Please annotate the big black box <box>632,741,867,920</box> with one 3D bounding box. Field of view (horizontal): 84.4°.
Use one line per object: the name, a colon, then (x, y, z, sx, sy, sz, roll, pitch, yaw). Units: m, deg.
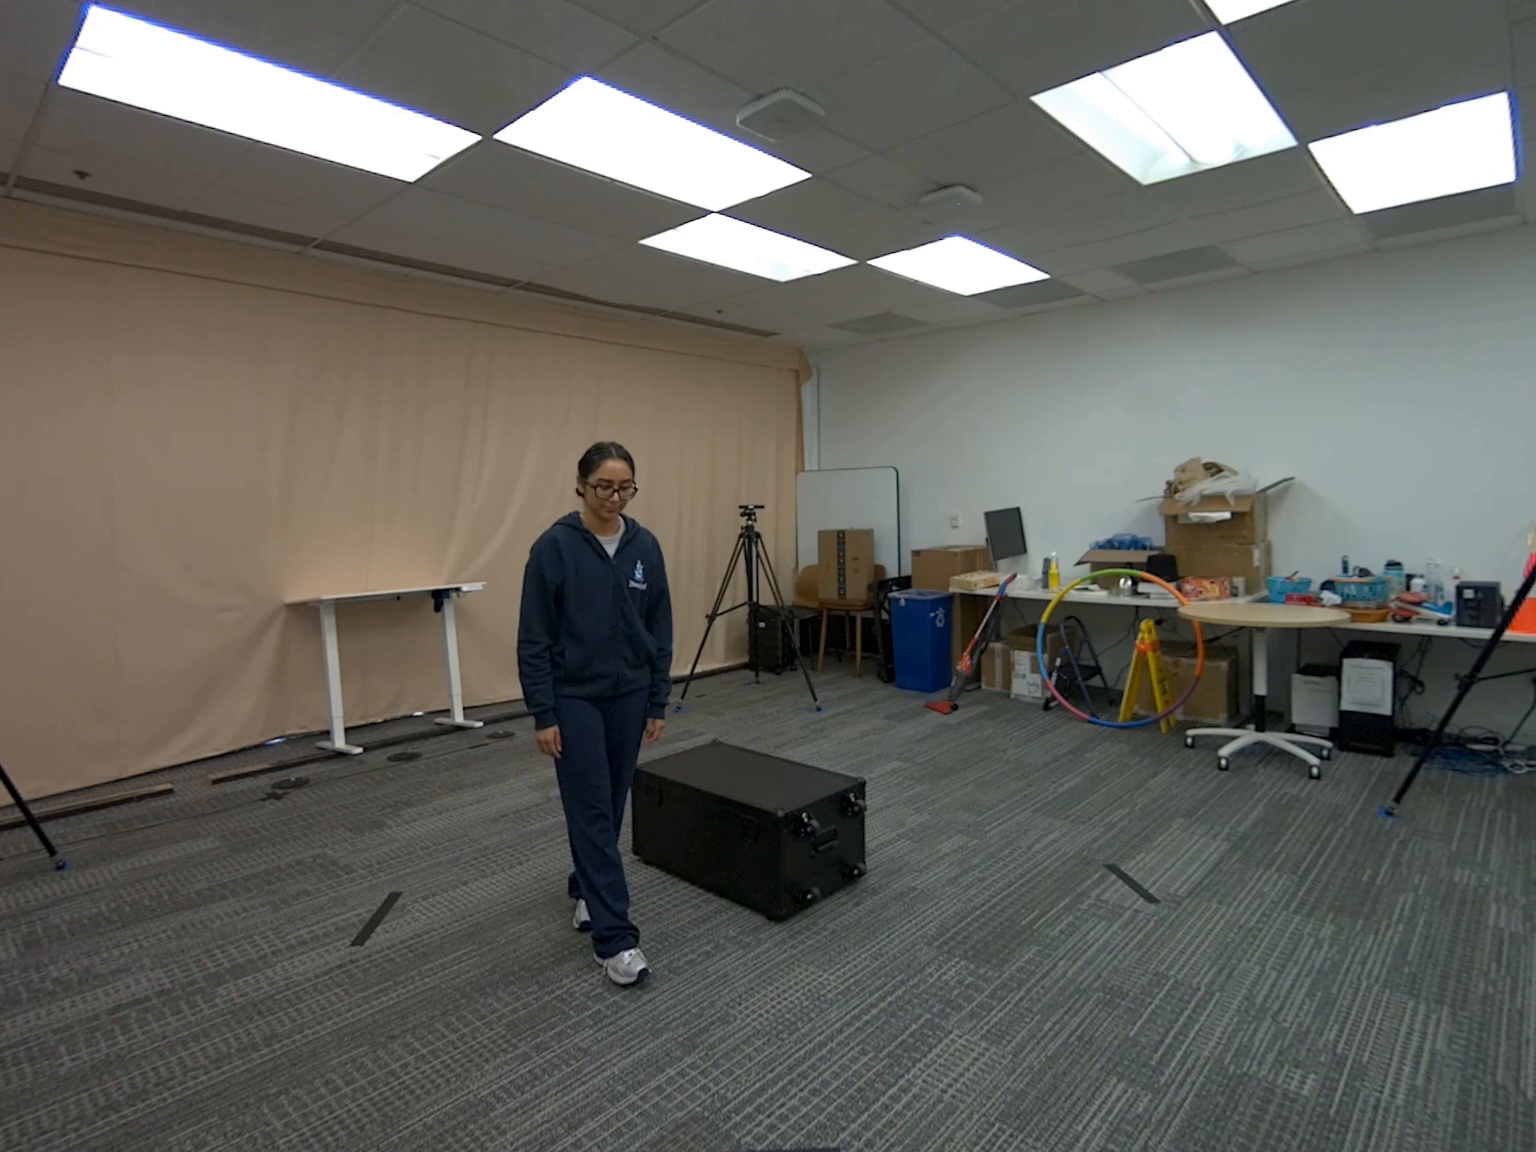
big black box: (-0.065, 0.935, 3.191, 0.890, 0.395, 0.506, 2, 6, 43)
